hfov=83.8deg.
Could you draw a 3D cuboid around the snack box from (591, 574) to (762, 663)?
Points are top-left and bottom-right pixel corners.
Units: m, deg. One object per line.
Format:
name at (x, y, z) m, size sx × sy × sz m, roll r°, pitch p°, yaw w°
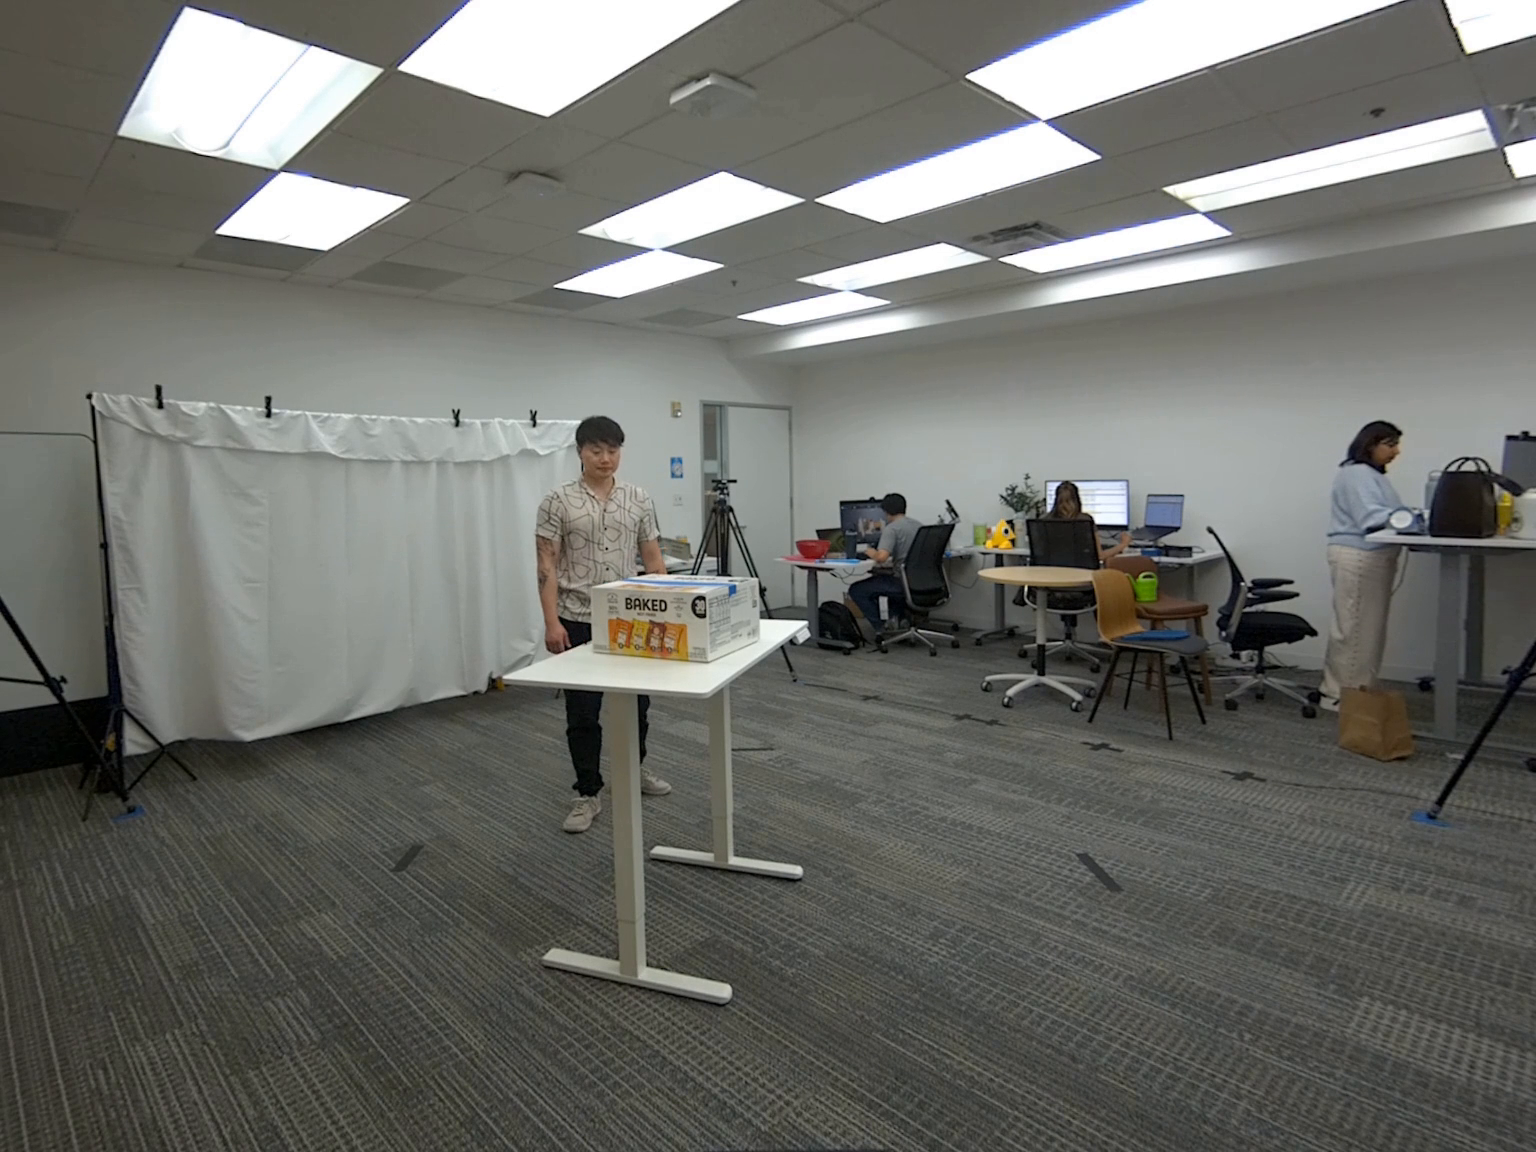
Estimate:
snack box at (-0.281, 0.120, 2.651) m, size 0.415 × 0.205 × 0.334 m, roll 2°, pitch 7°, yaw 27°
